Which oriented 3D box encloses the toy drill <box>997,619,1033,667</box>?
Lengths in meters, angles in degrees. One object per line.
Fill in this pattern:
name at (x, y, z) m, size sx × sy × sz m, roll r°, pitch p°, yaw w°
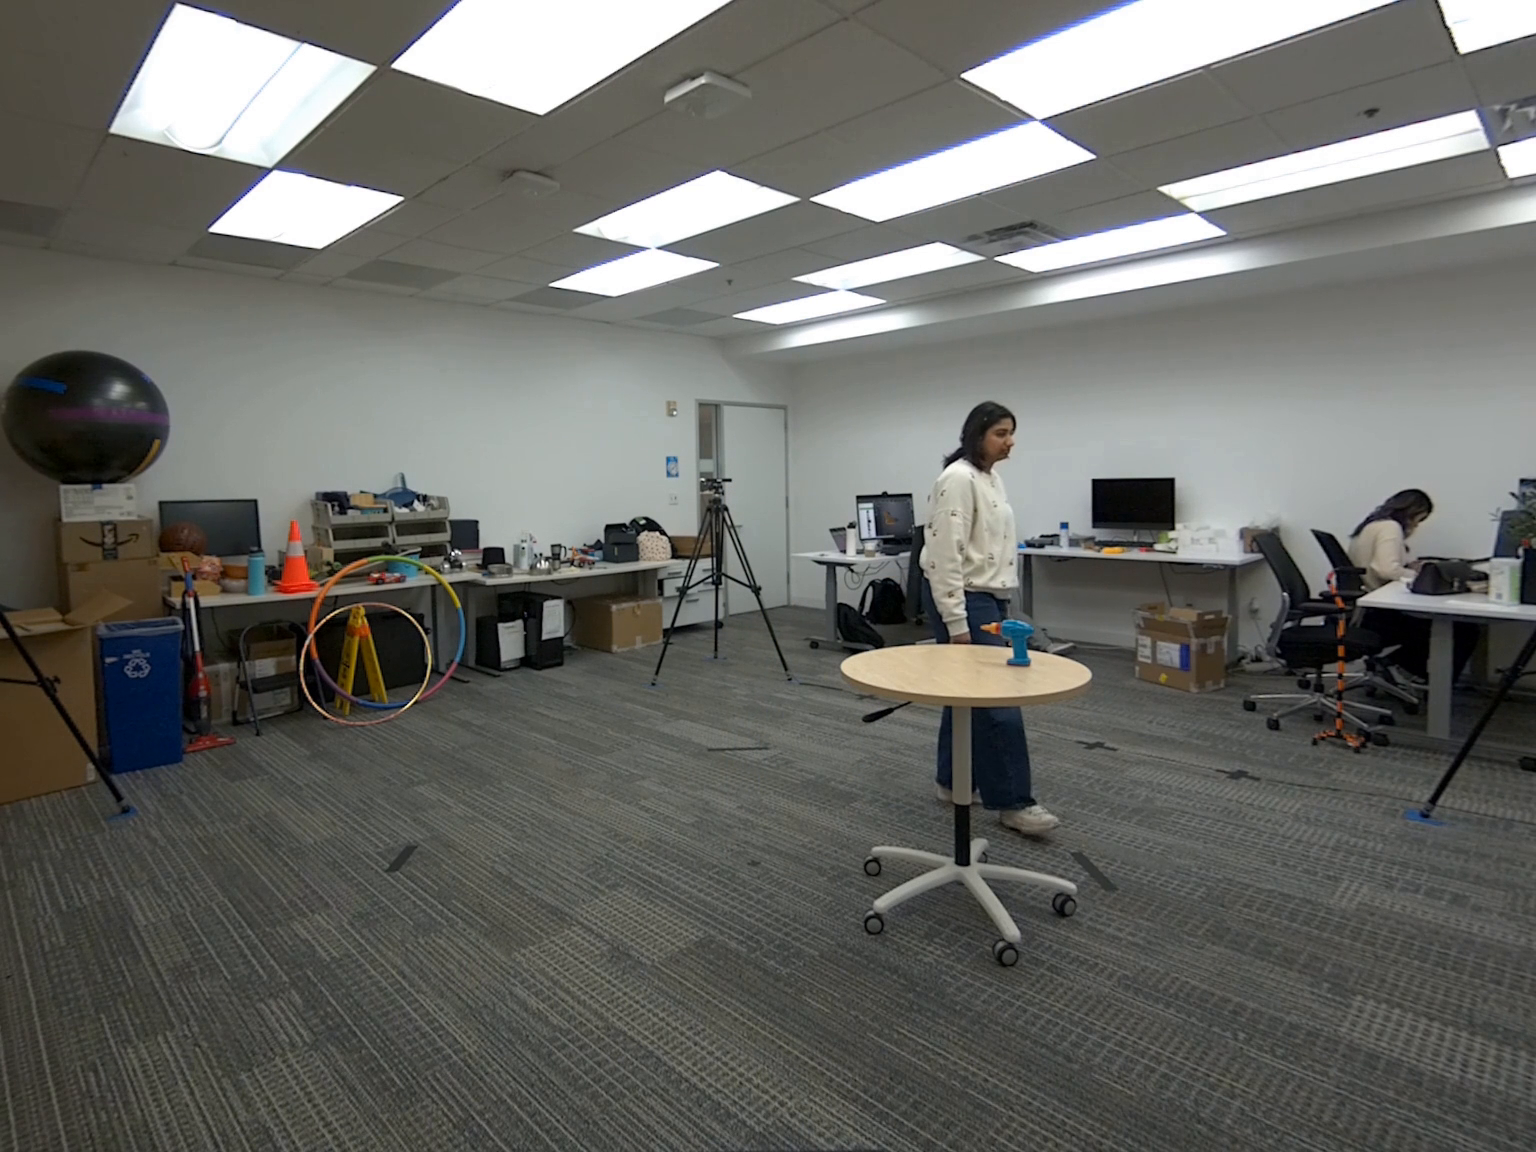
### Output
toy drill at (0.783, 0.213, 2.750) m, size 0.174 × 0.145 × 0.060 m, roll 3°, pitch 7°, yaw 30°
